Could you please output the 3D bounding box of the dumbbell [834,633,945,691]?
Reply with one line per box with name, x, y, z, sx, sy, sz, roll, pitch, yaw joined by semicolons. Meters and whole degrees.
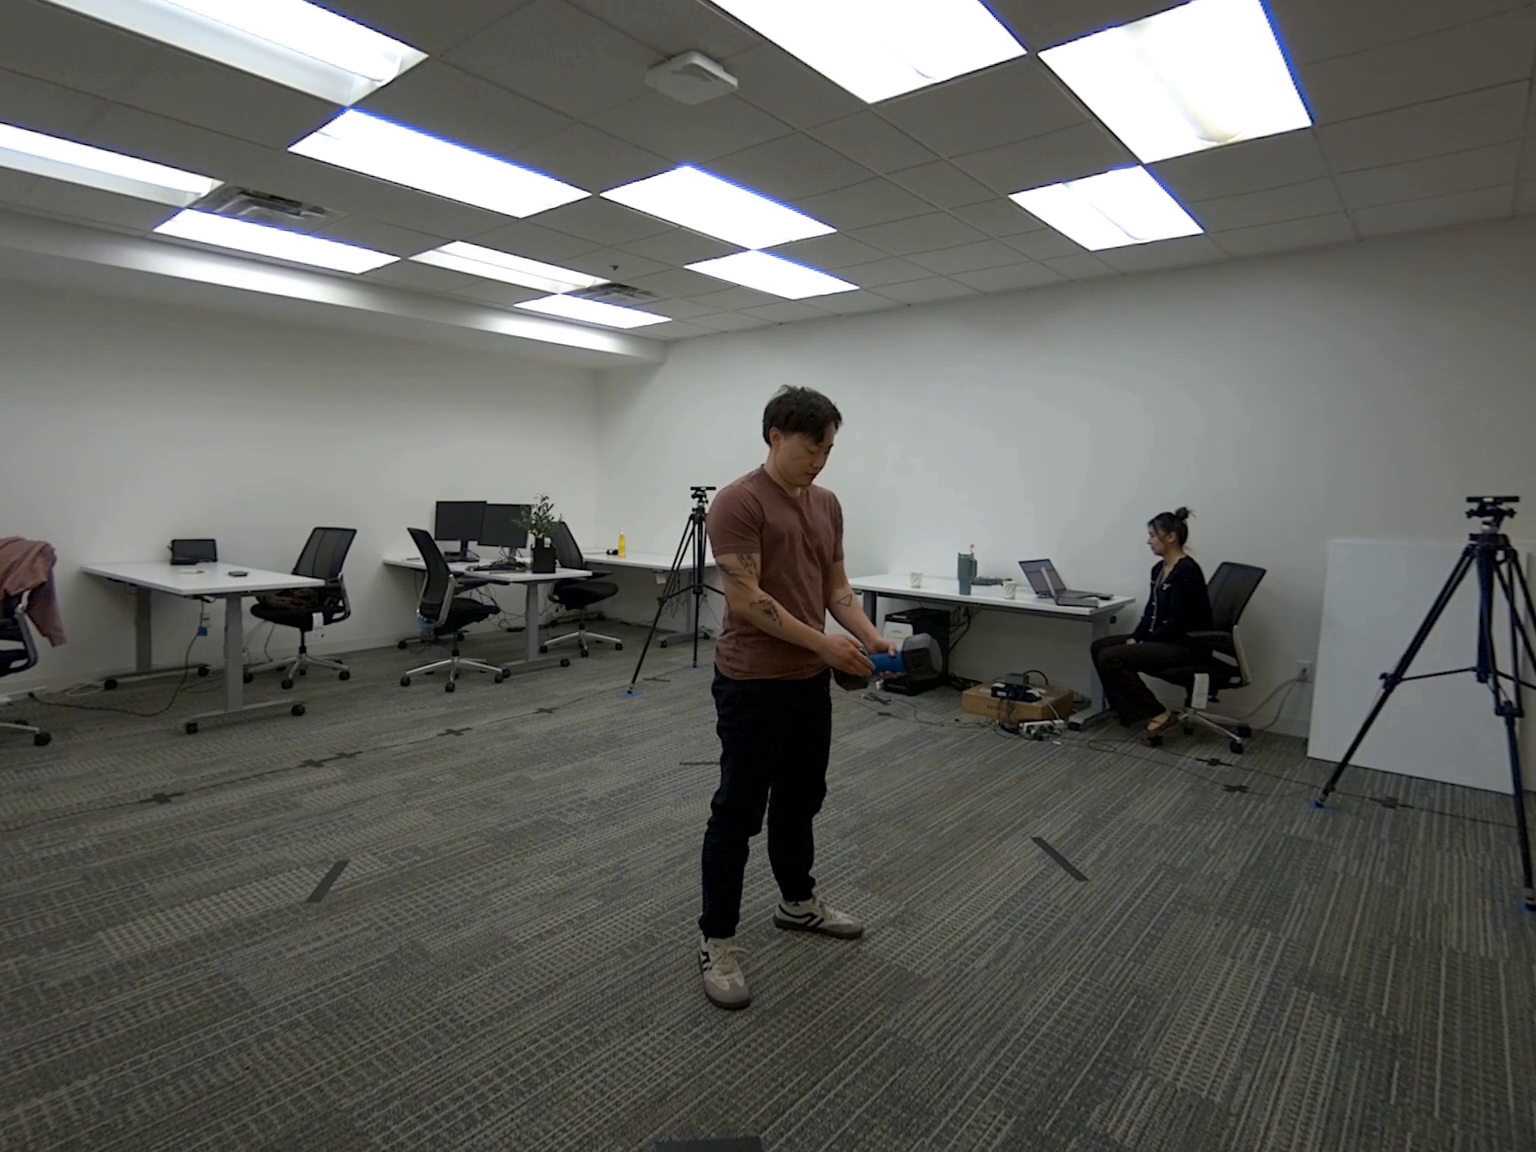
dumbbell;0.320;0.246;2.360;0.299;0.123;0.106;-14;-2;30
